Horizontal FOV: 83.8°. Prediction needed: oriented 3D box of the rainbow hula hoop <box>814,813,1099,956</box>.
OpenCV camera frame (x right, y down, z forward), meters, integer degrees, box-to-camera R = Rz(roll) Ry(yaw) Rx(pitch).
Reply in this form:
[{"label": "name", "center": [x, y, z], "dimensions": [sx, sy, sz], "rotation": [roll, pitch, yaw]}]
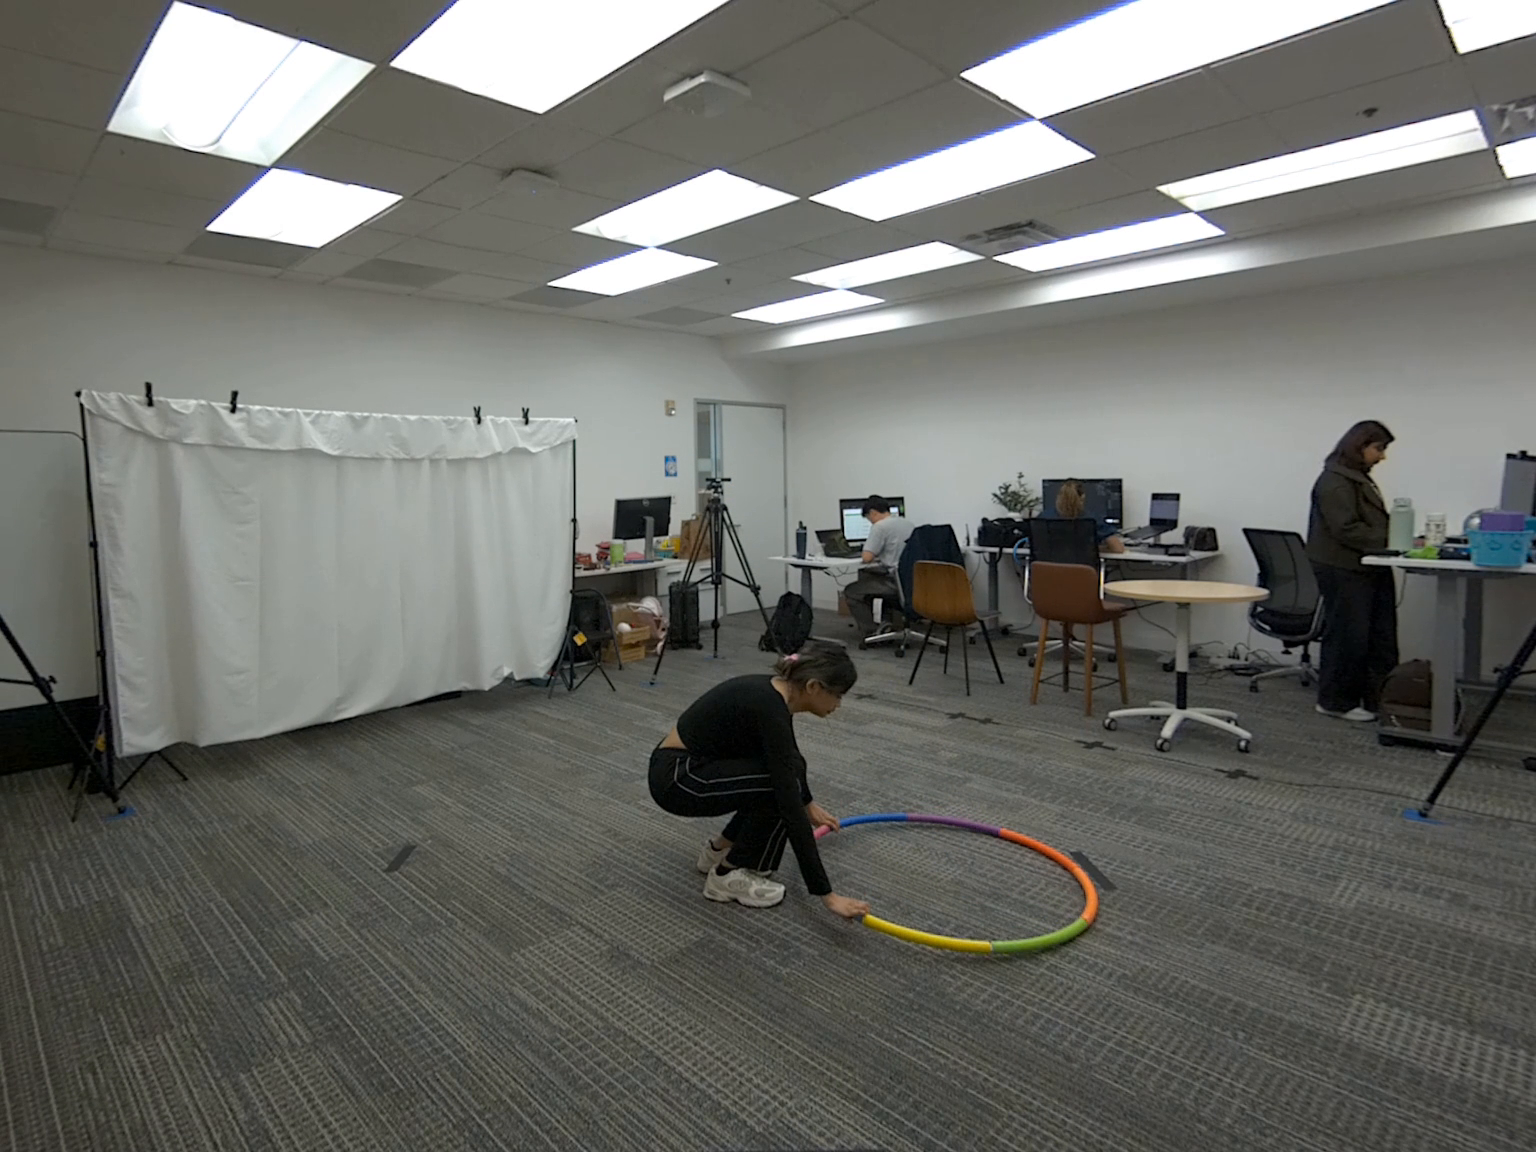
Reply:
[{"label": "rainbow hula hoop", "center": [0.582, 0.993, 2.934], "dimensions": [0.978, 0.035, 0.984], "rotation": [2, 6, -2]}]
